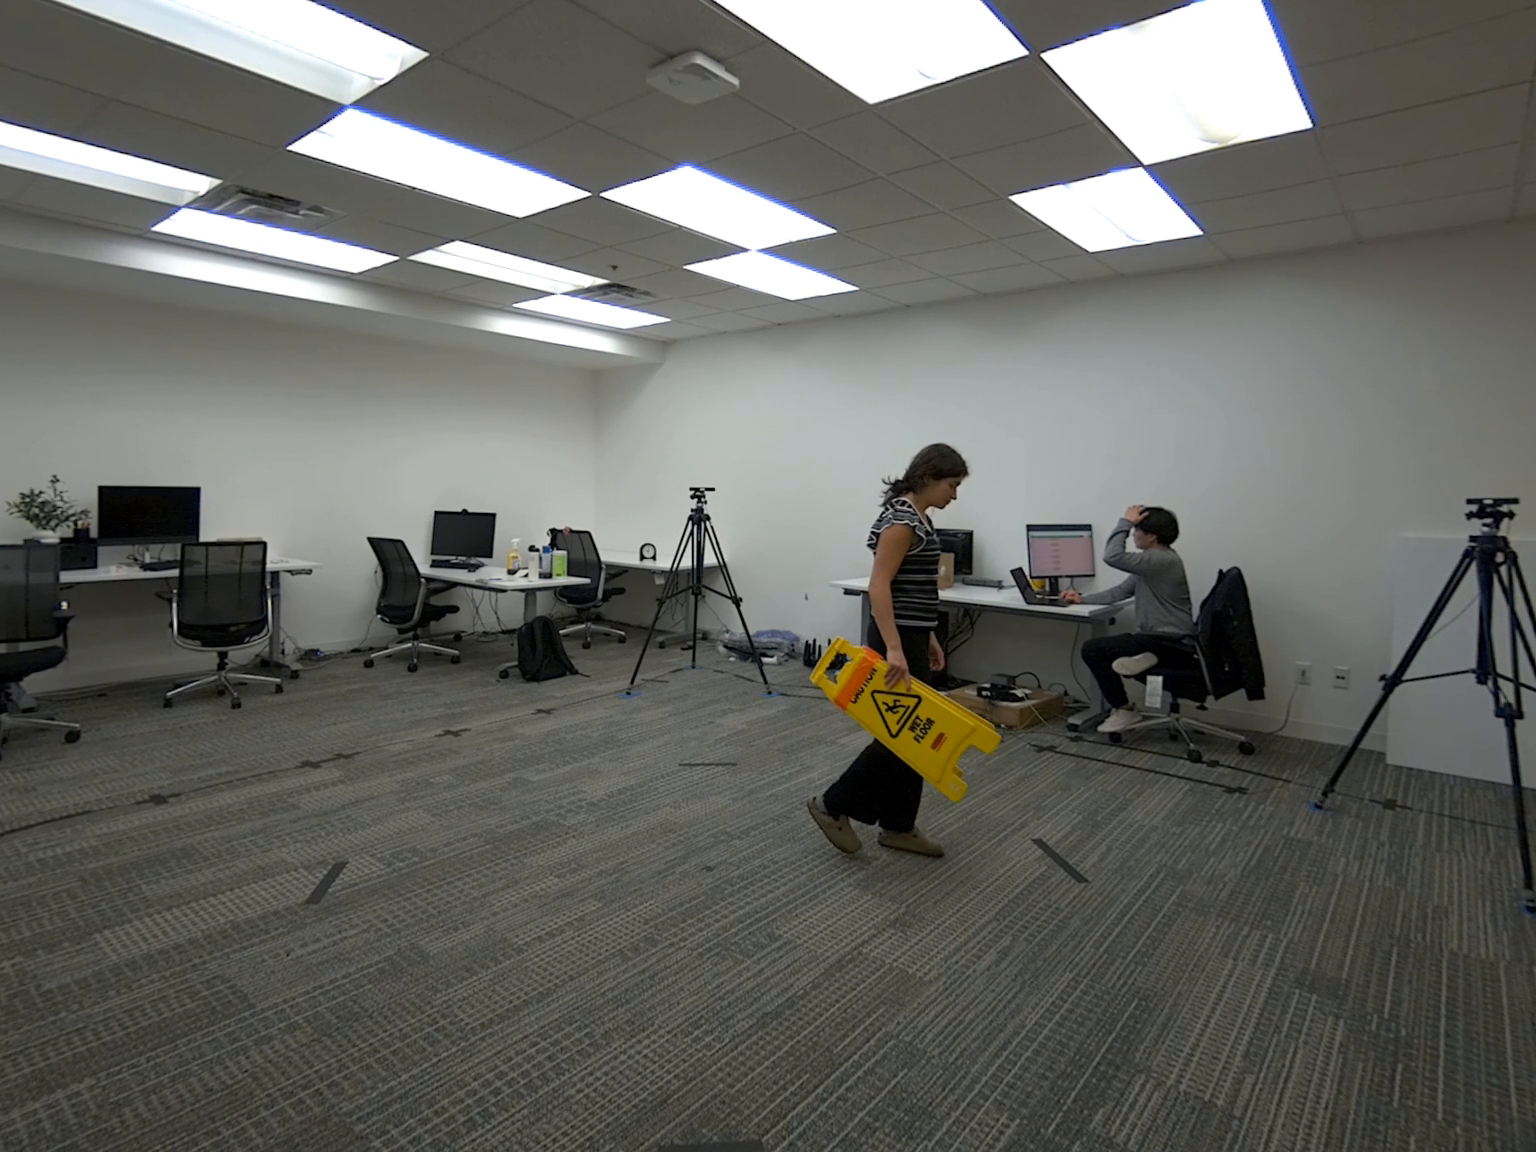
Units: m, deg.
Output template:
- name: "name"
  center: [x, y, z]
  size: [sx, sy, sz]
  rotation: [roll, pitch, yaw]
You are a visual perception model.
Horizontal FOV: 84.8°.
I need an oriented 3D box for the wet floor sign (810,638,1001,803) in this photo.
- name: "wet floor sign"
  center: [0.457, 0.478, 3.058]
  size: [0.656, 0.282, 0.286]
  rotation: [34, 6, 10]
